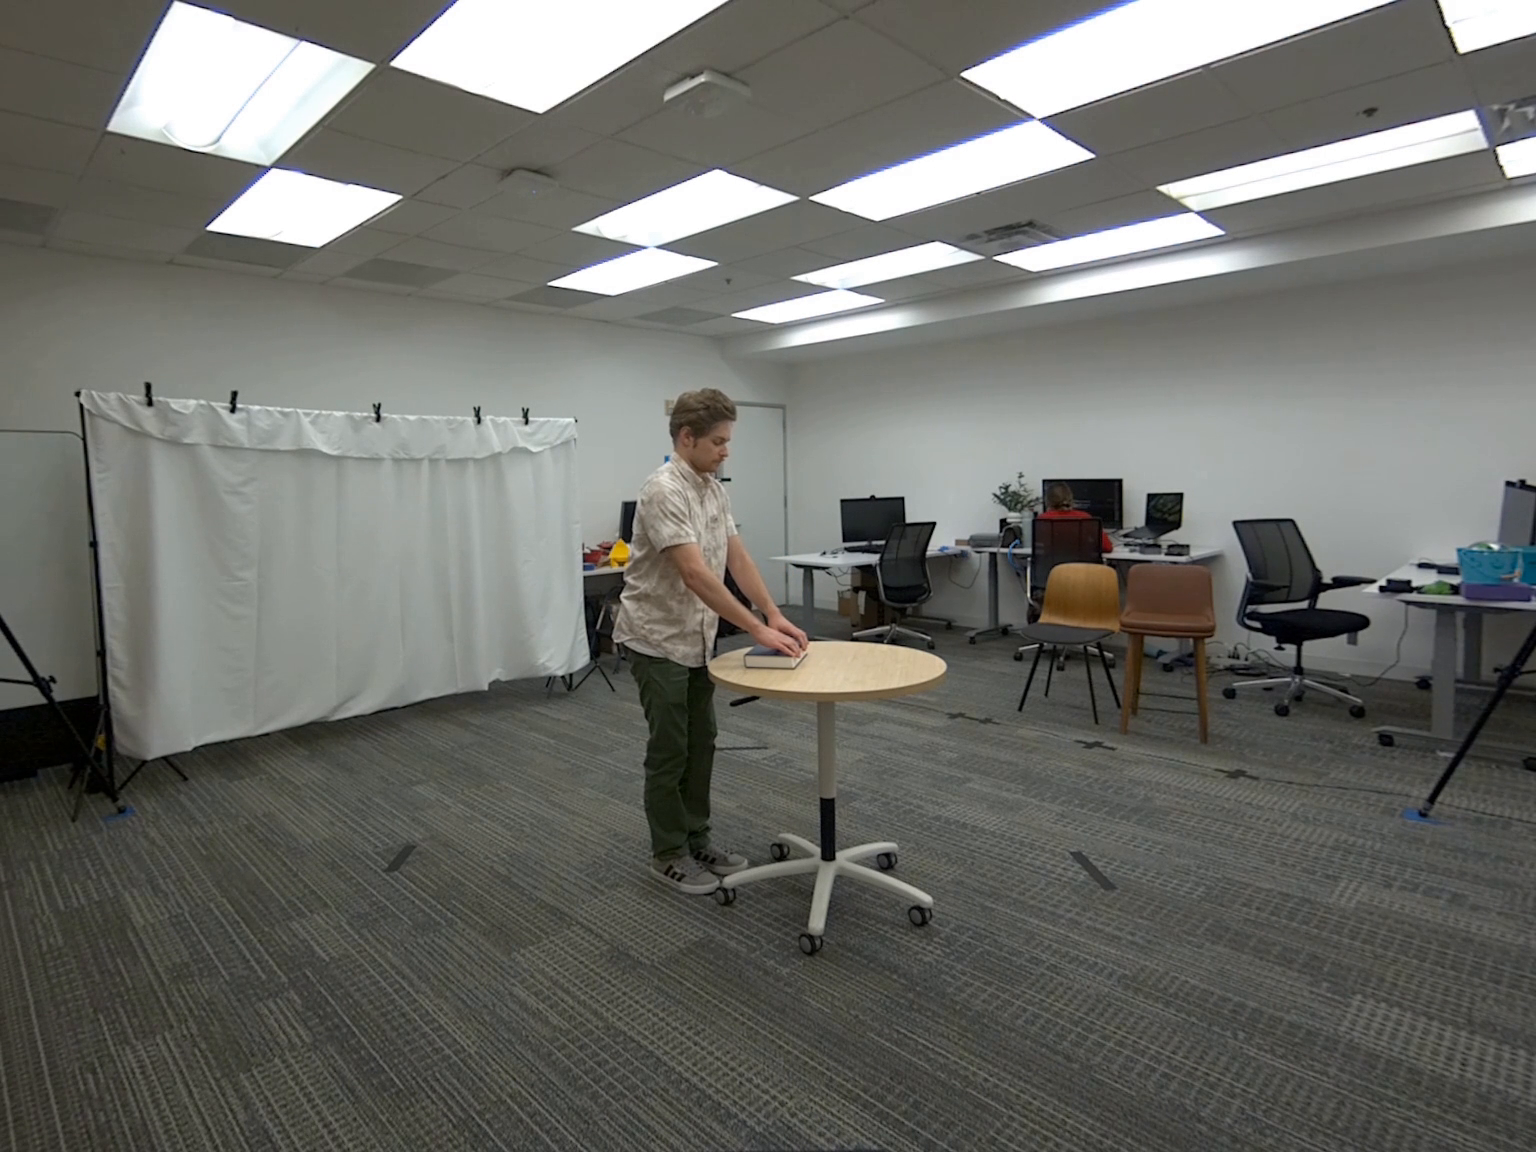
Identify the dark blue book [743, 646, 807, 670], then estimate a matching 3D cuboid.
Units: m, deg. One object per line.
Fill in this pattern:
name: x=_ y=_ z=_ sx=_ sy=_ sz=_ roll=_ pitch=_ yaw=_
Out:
dark blue book: x=0.028 y=0.264 z=2.833 sx=0.165 sy=0.045 sz=0.243 roll=0 pitch=5 yaw=12
